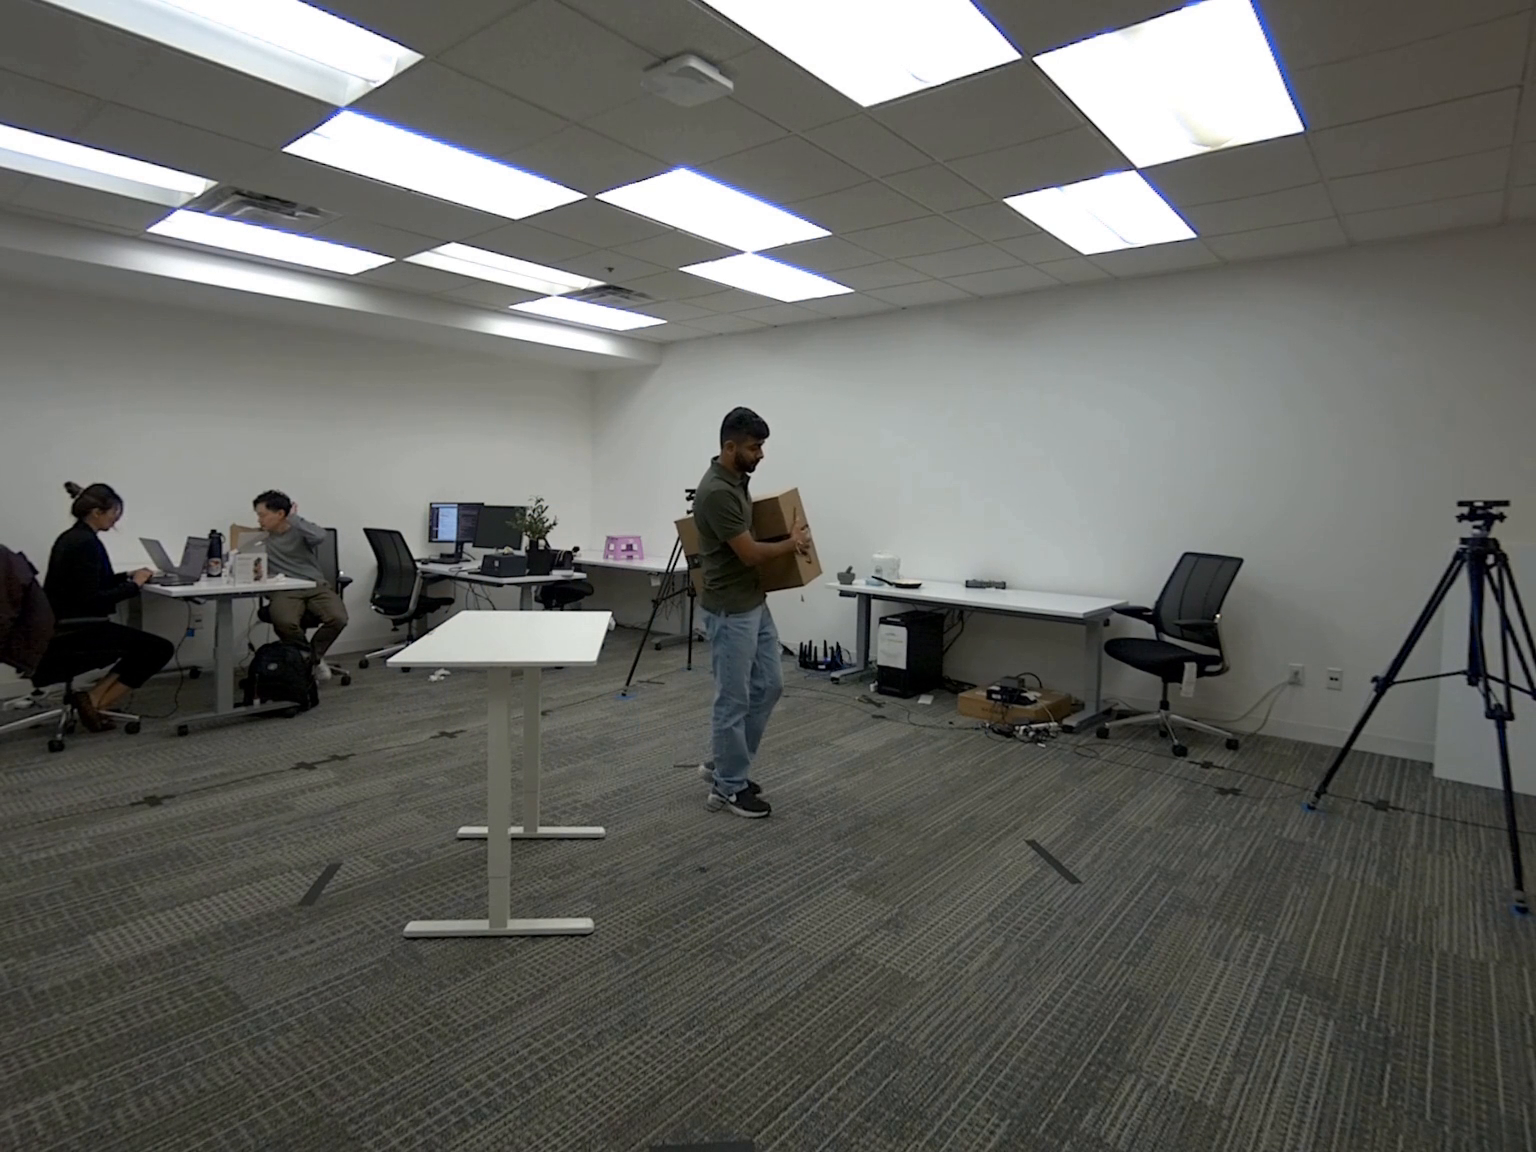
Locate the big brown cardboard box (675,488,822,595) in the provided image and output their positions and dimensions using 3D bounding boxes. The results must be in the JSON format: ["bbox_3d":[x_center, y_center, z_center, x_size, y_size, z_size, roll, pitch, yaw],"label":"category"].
[{"bbox_3d":[-0.109,-0.135,3.931,0.603,0.414,0.229,-9,9,32],"label":"big brown cardboard box"}]
